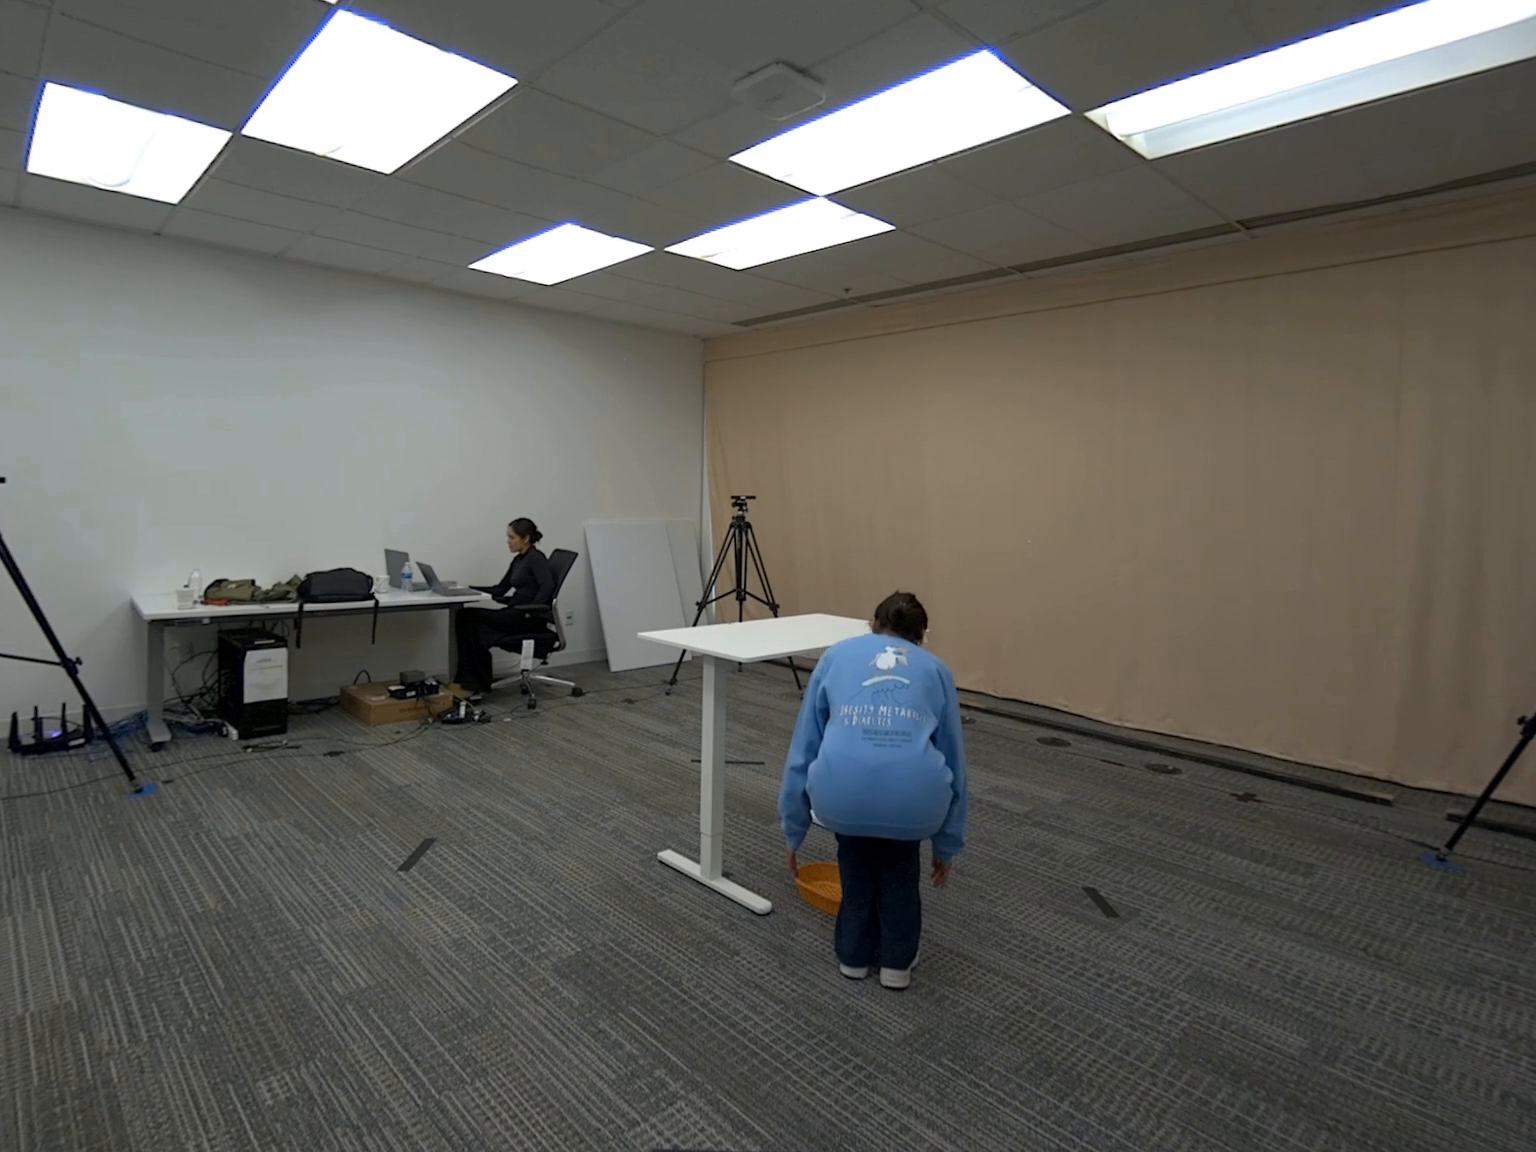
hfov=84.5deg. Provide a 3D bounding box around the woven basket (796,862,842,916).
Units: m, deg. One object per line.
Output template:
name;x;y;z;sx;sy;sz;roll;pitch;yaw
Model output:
woven basket;0.230;1.083;2.918;0.246;0.073;0.359;-2;6;-42
